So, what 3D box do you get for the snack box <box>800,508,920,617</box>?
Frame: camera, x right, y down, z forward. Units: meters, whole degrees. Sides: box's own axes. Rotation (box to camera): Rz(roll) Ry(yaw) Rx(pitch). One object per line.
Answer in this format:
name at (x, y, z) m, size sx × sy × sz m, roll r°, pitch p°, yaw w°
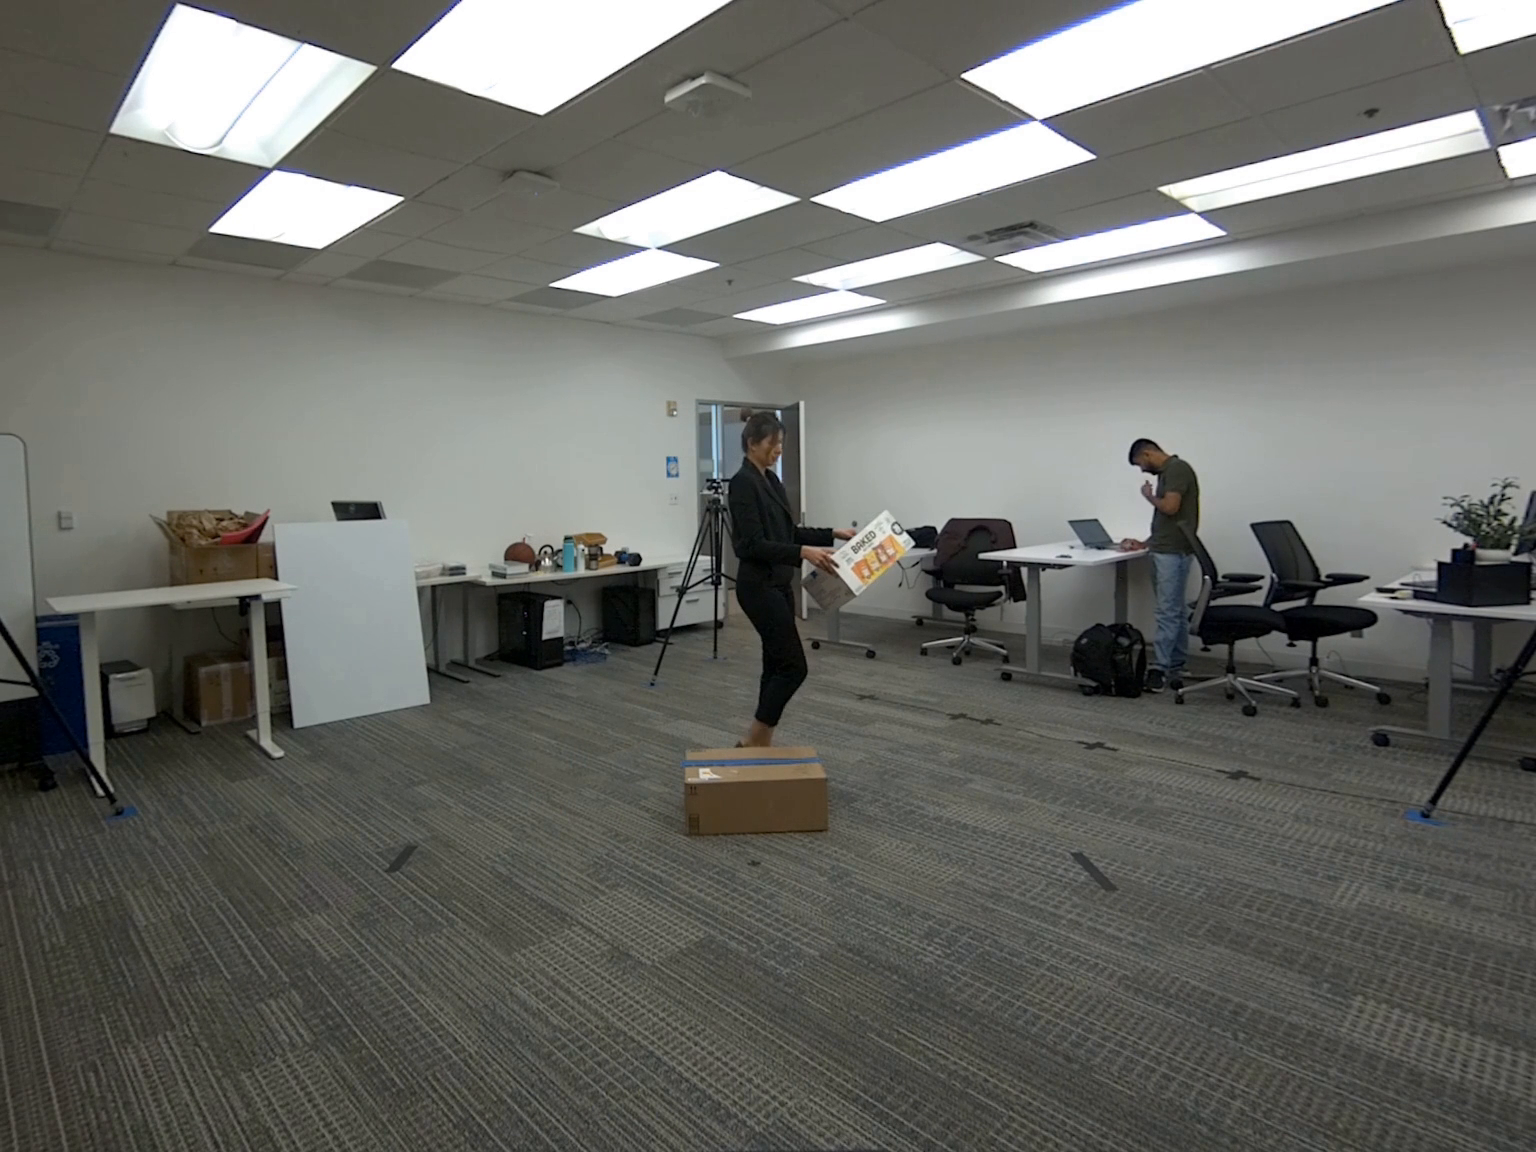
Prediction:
snack box at (0.408, -0.059, 3.887) m, size 0.403 × 0.206 × 0.340 m, roll -40°, pitch -1°, yaw -25°
